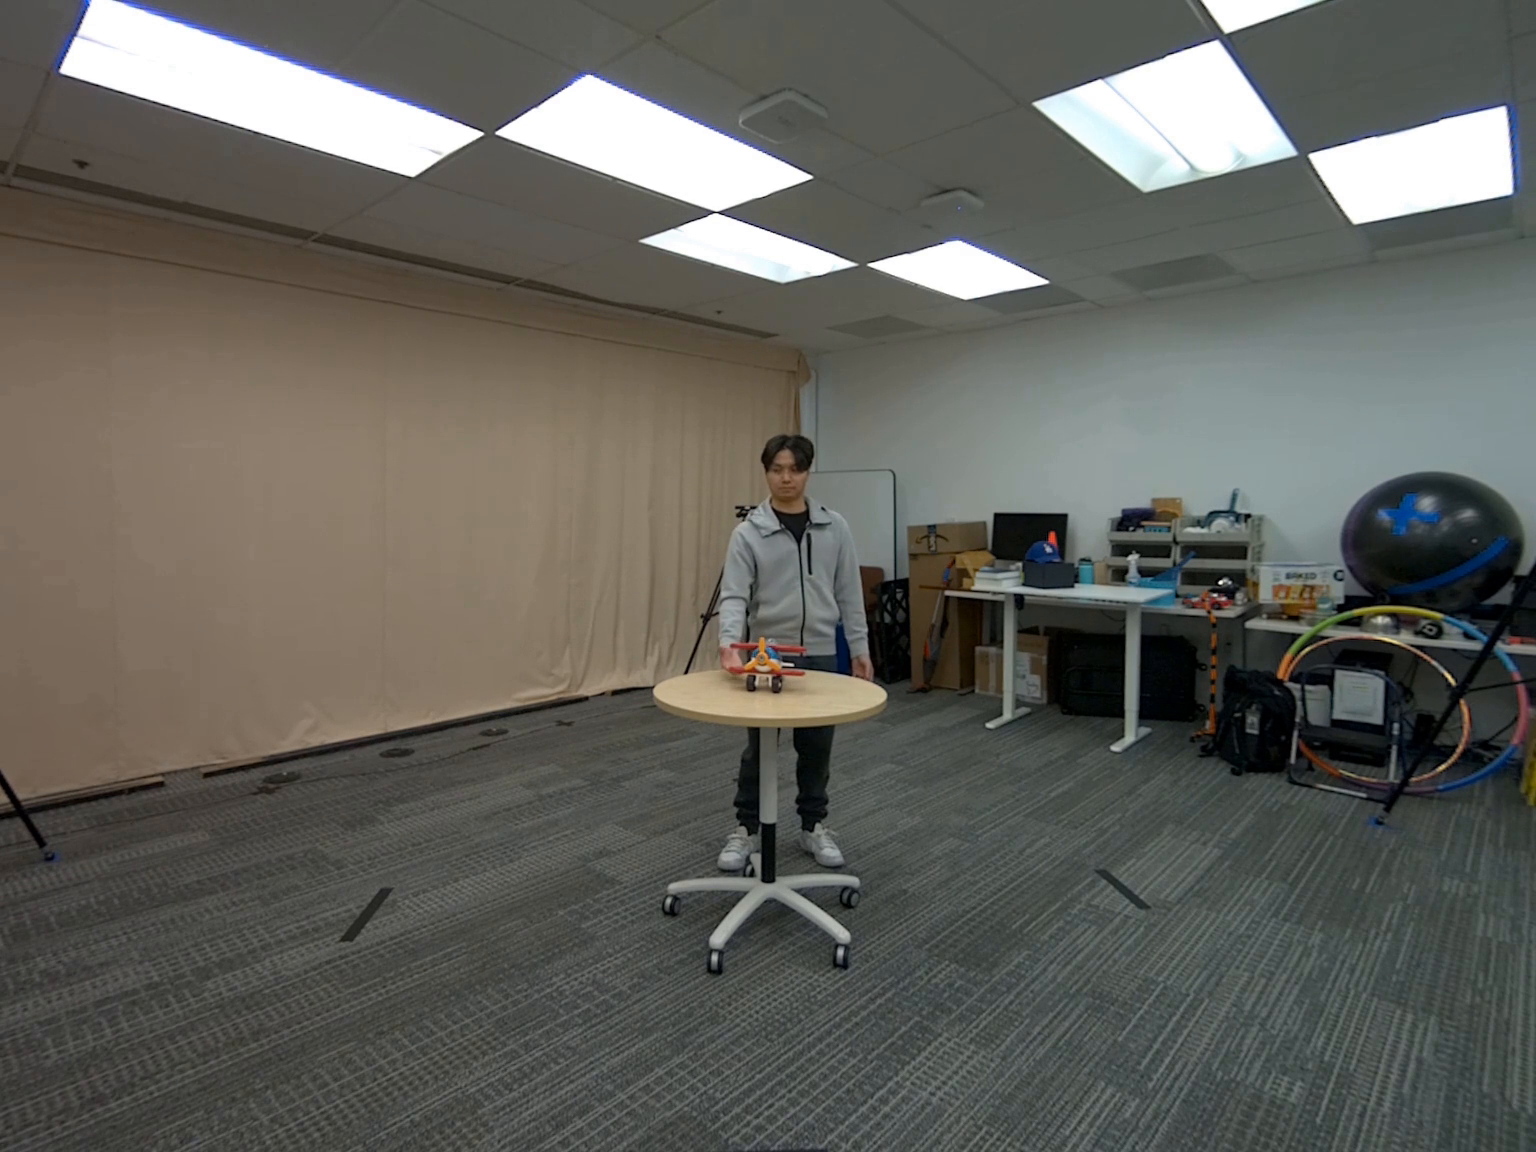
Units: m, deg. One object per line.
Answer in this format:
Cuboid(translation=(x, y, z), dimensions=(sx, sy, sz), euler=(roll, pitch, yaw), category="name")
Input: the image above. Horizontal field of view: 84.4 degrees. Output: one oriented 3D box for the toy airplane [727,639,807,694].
Cuboid(translation=(-0.014, 0.295, 2.840), dimensions=(0.247, 0.156, 0.264), euler=(0, 5, -18), category="toy airplane")
